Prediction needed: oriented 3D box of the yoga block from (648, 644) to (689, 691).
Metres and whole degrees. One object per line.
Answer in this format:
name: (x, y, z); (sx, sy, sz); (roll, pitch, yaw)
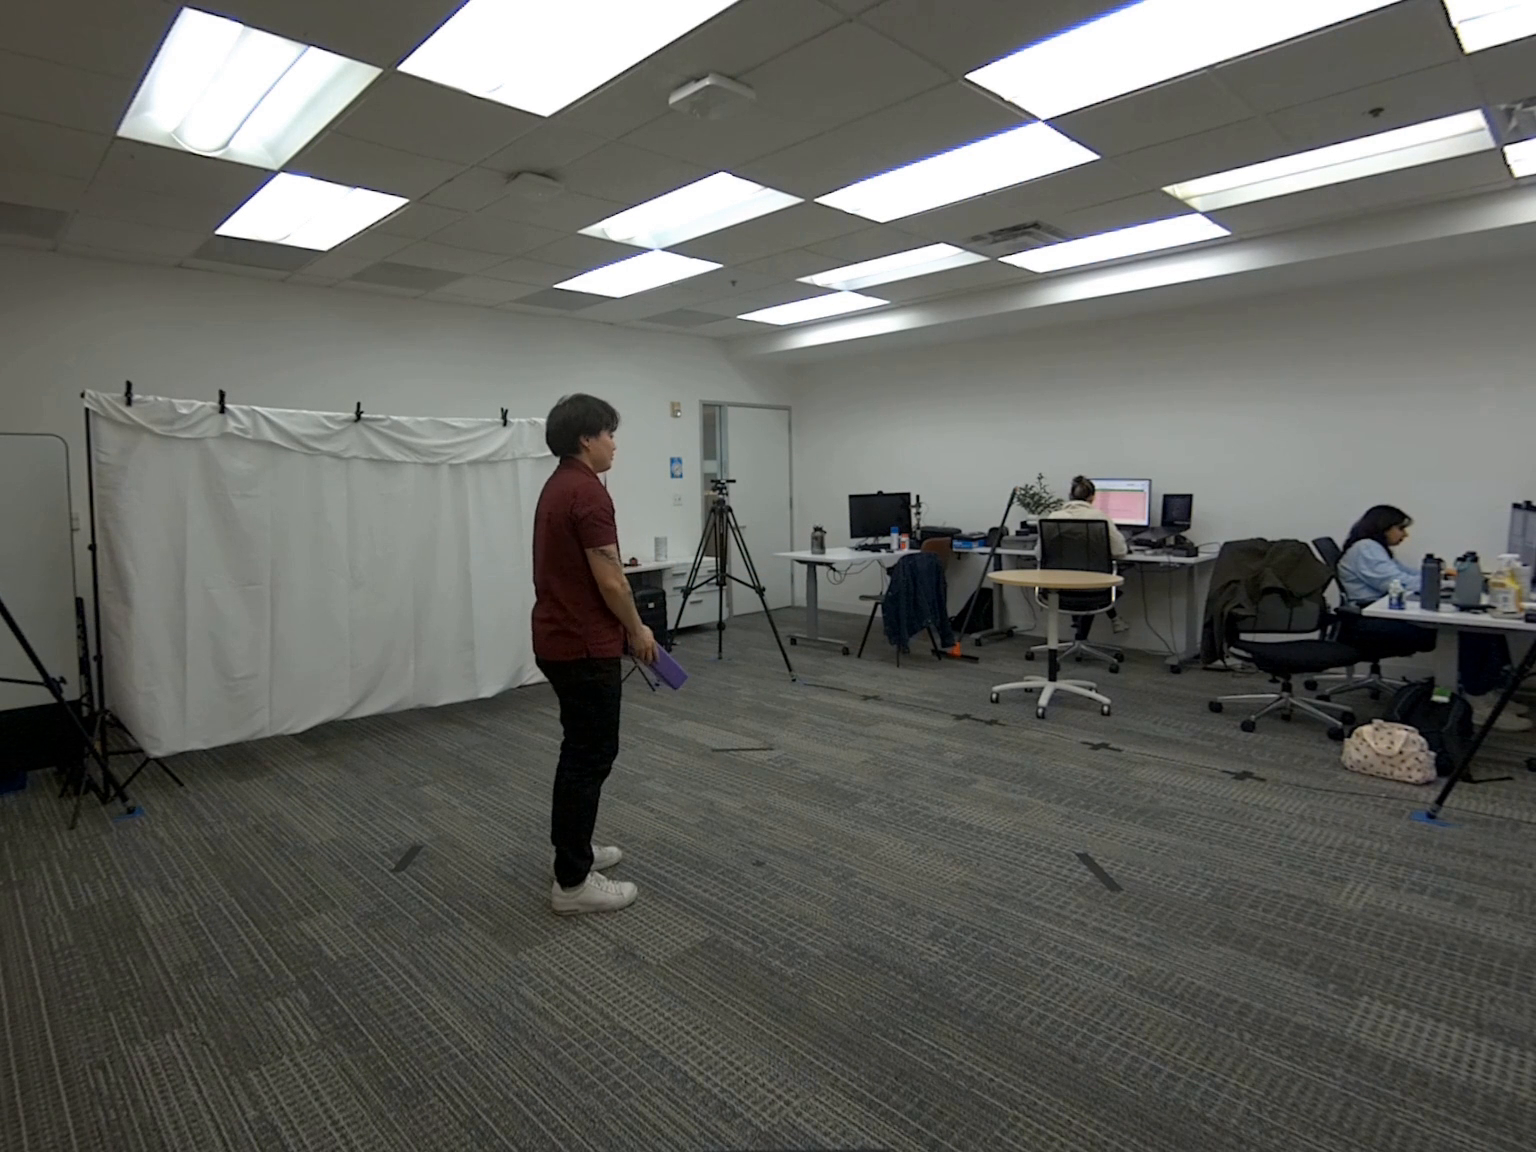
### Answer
yoga block: (-0.391, 0.291, 3.061); (0.076, 0.224, 0.152); (-46, 18, -15)
